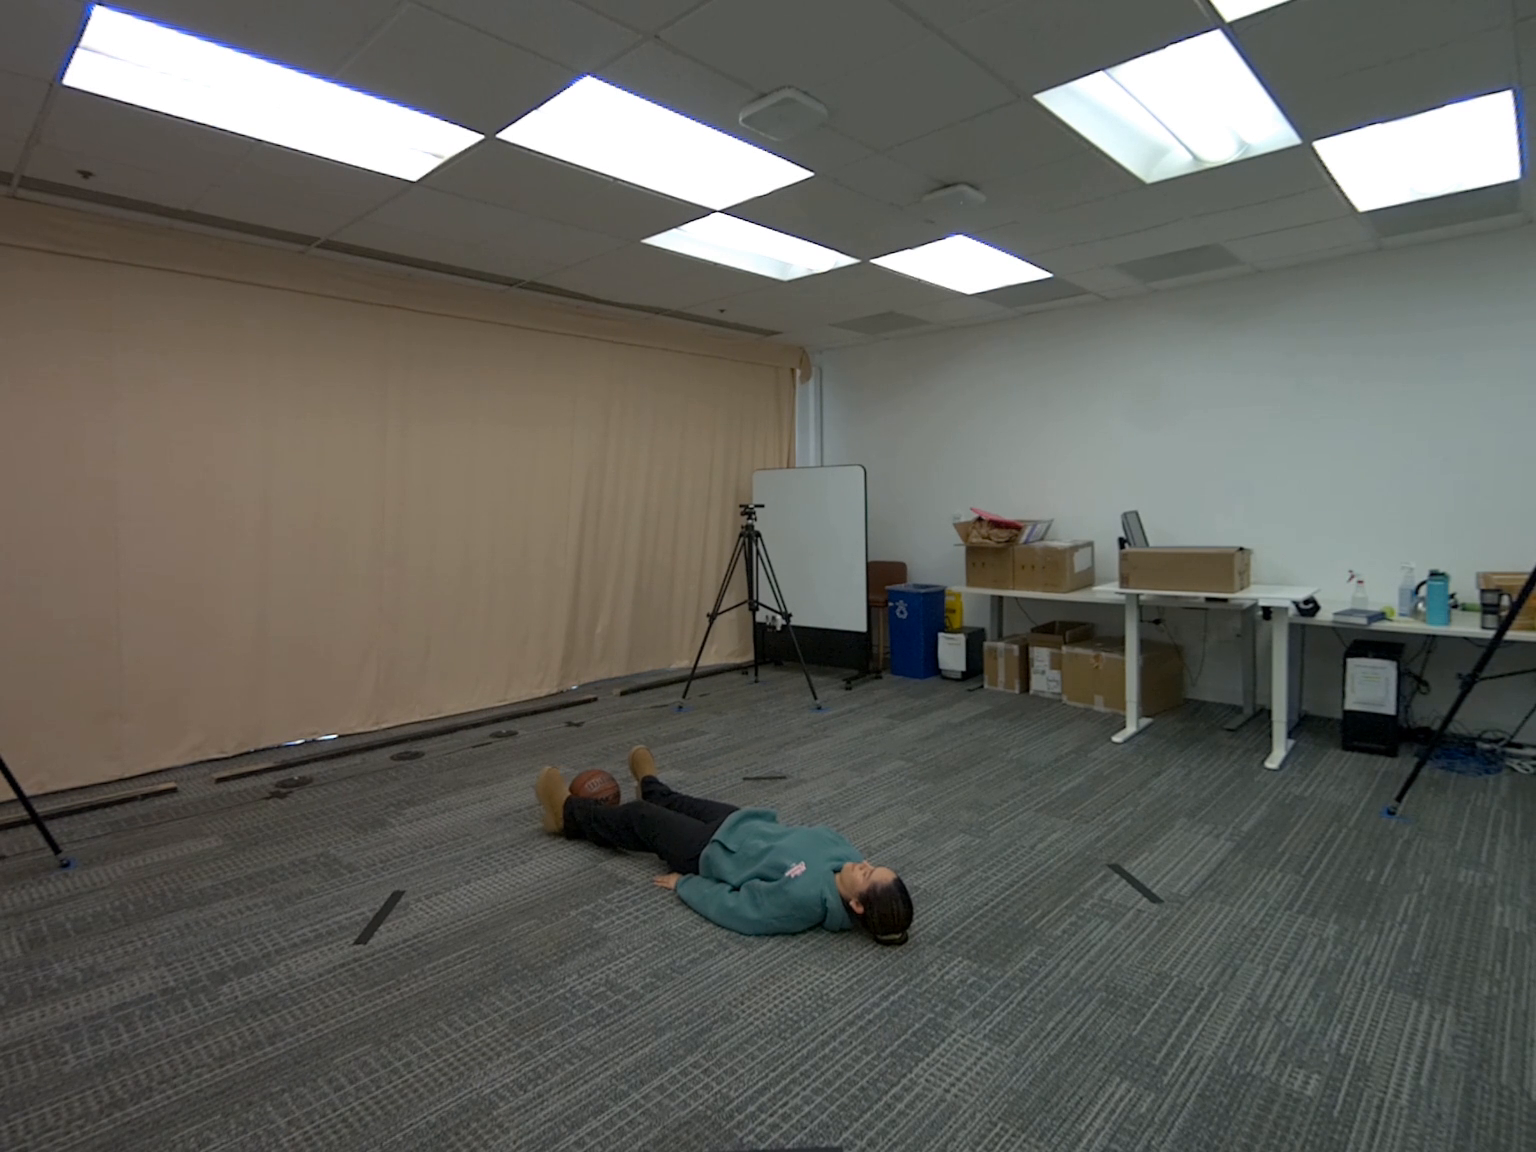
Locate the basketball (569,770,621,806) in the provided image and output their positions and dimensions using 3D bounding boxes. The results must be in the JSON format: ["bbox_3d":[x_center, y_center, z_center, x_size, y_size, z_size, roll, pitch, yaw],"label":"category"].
[{"bbox_3d":[-0.769,0.980,3.722,0.236,0.235,0.237,0,4,-2],"label":"basketball"}]
